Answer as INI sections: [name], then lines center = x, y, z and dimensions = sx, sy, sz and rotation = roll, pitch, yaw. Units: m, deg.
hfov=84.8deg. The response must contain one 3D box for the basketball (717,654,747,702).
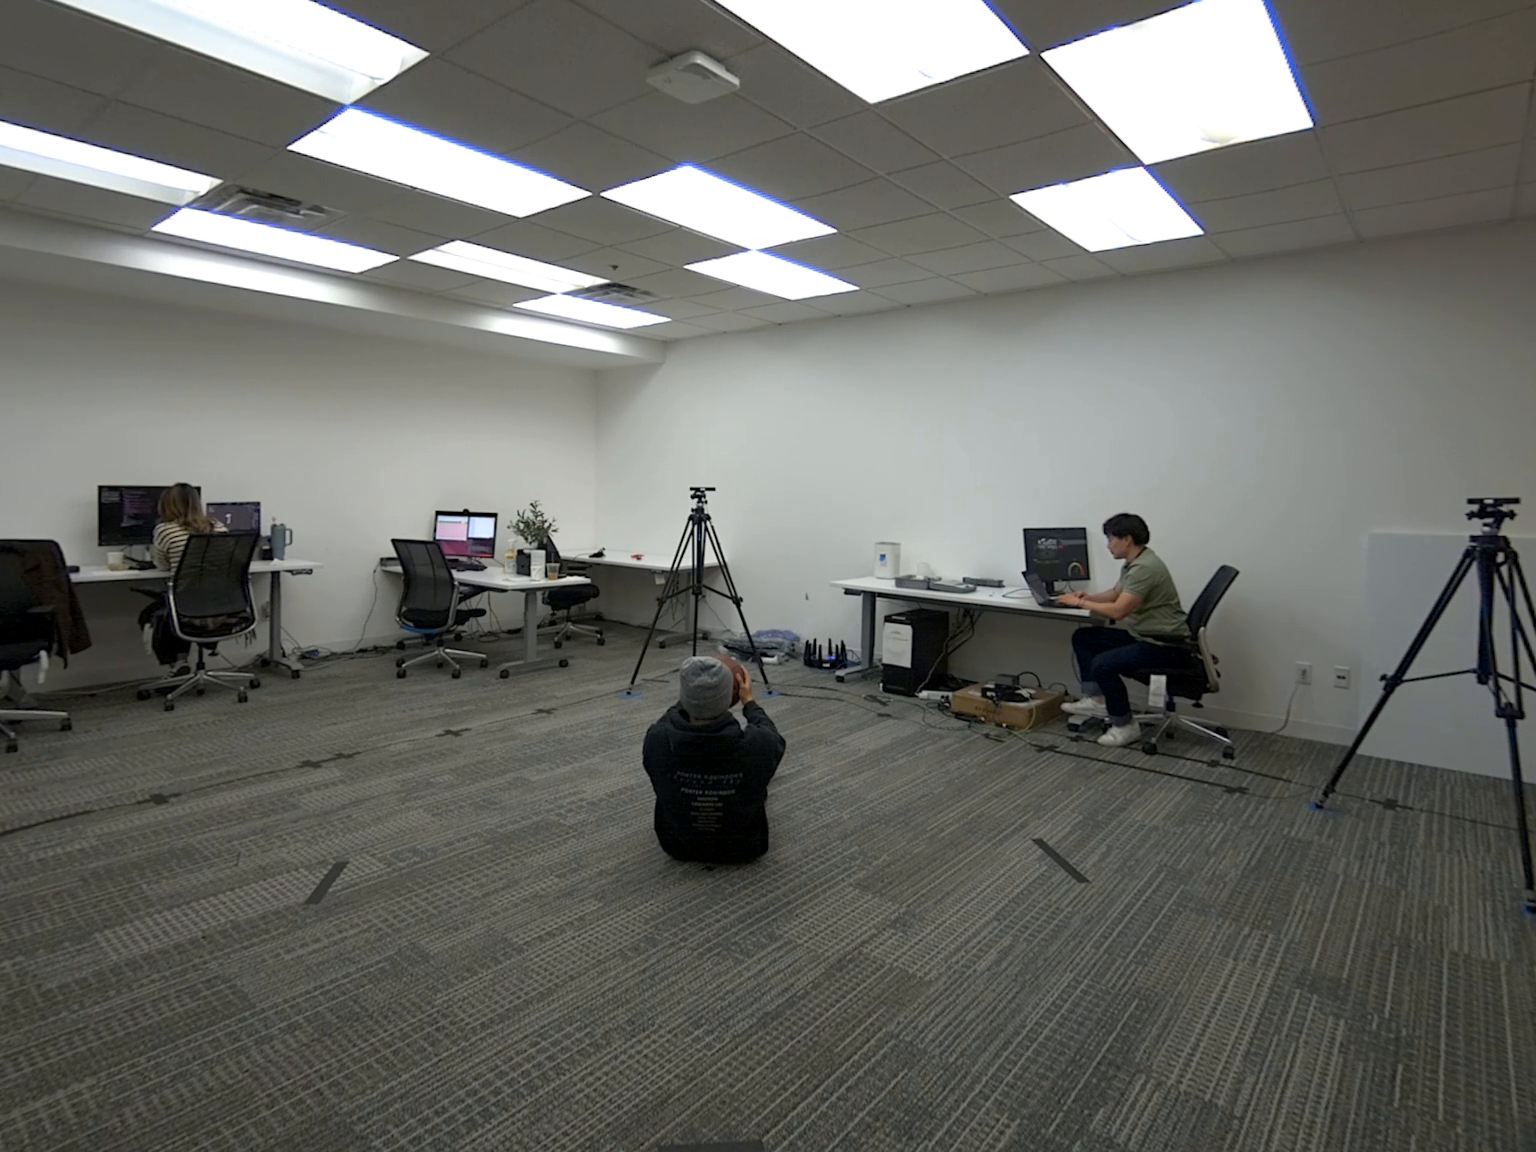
[basketball]
center = -0.214, 0.450, 3.618
dimensions = 0.235, 0.235, 0.237
rotation = 1, 4, -2
